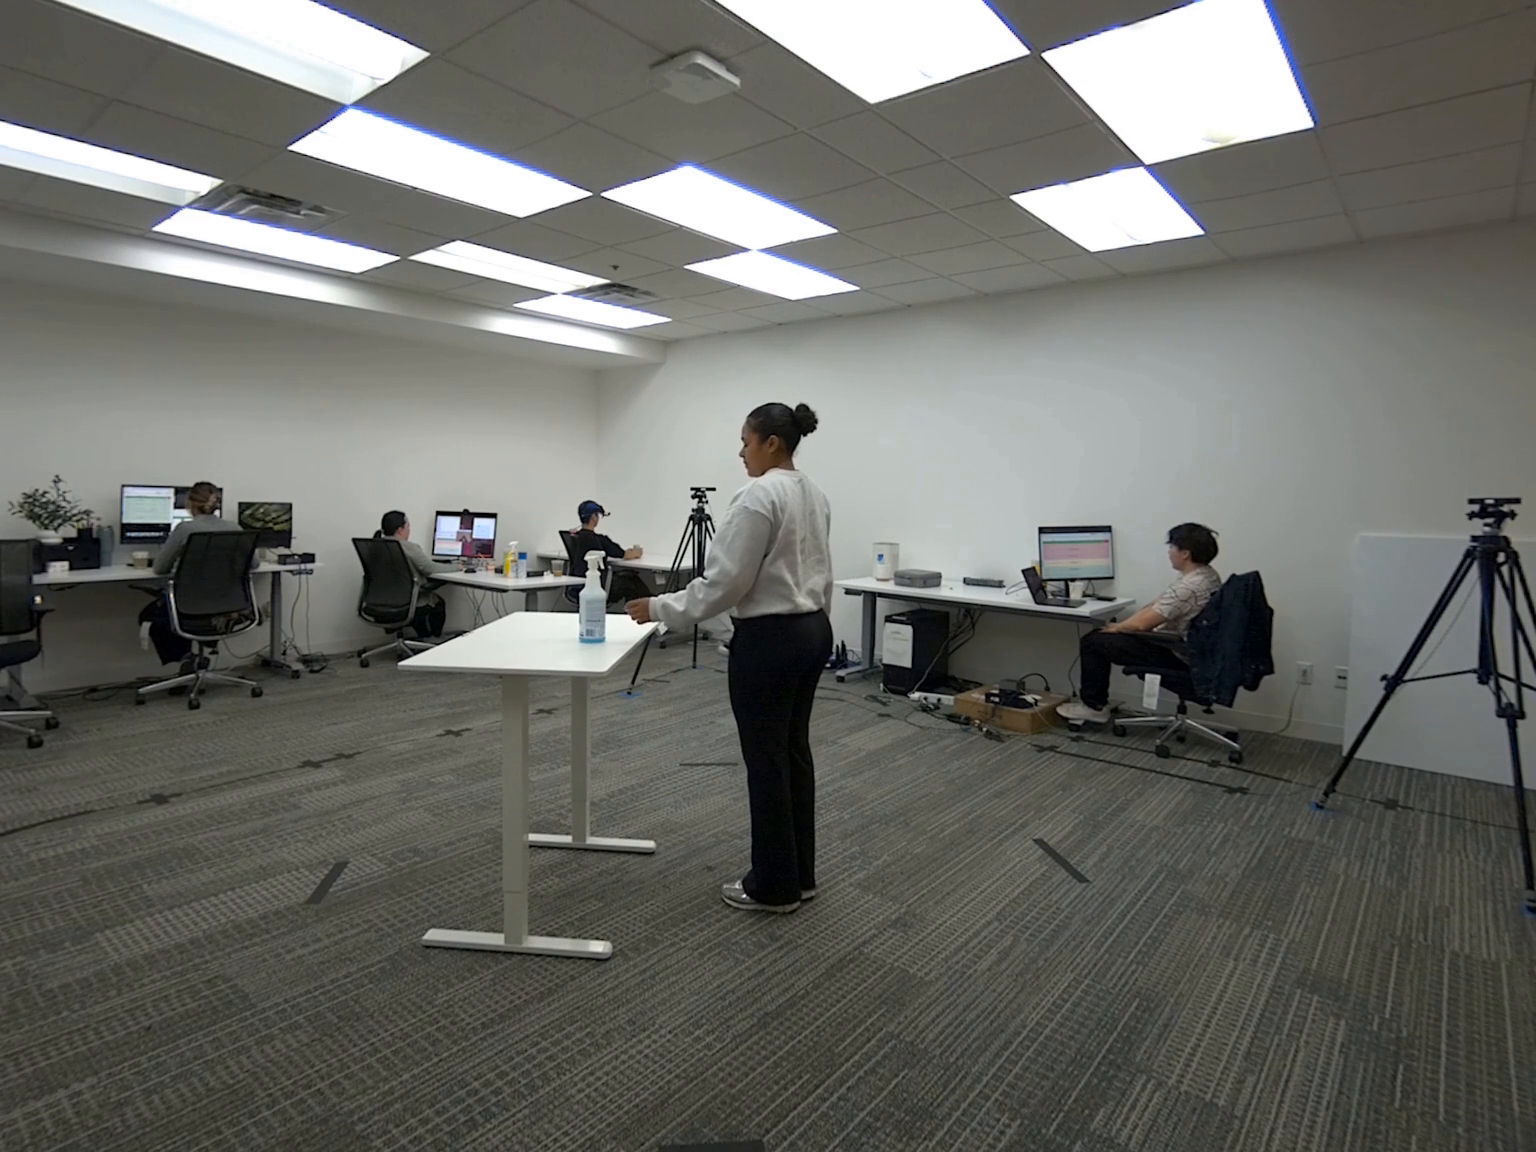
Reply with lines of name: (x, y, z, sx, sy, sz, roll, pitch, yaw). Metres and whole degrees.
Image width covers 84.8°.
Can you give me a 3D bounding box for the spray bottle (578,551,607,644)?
spray bottle: (-0.583, 0.065, 2.778, 0.085, 0.296, 0.092, -1, 5, -27)
